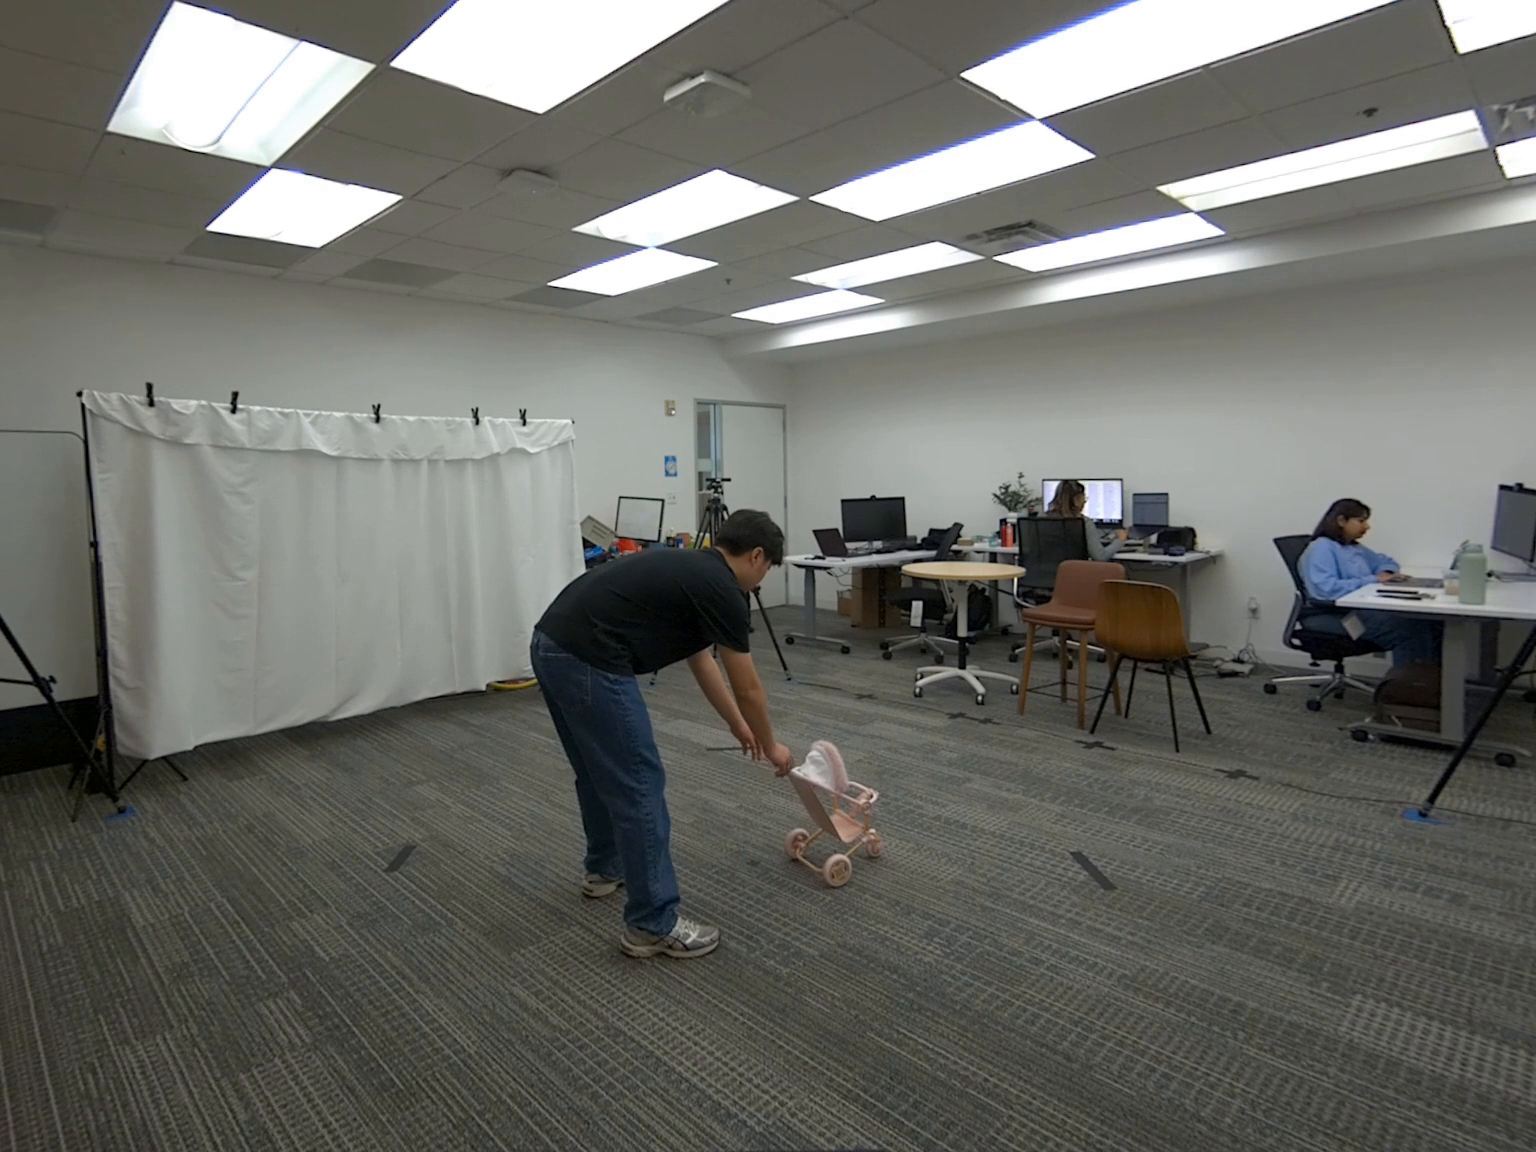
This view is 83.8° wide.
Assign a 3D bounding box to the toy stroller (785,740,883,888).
[{"bbox_3d":[0.229,0.823,3.041,0.337,0.529,0.288,-20,11,-22],"label":"toy stroller"}]
